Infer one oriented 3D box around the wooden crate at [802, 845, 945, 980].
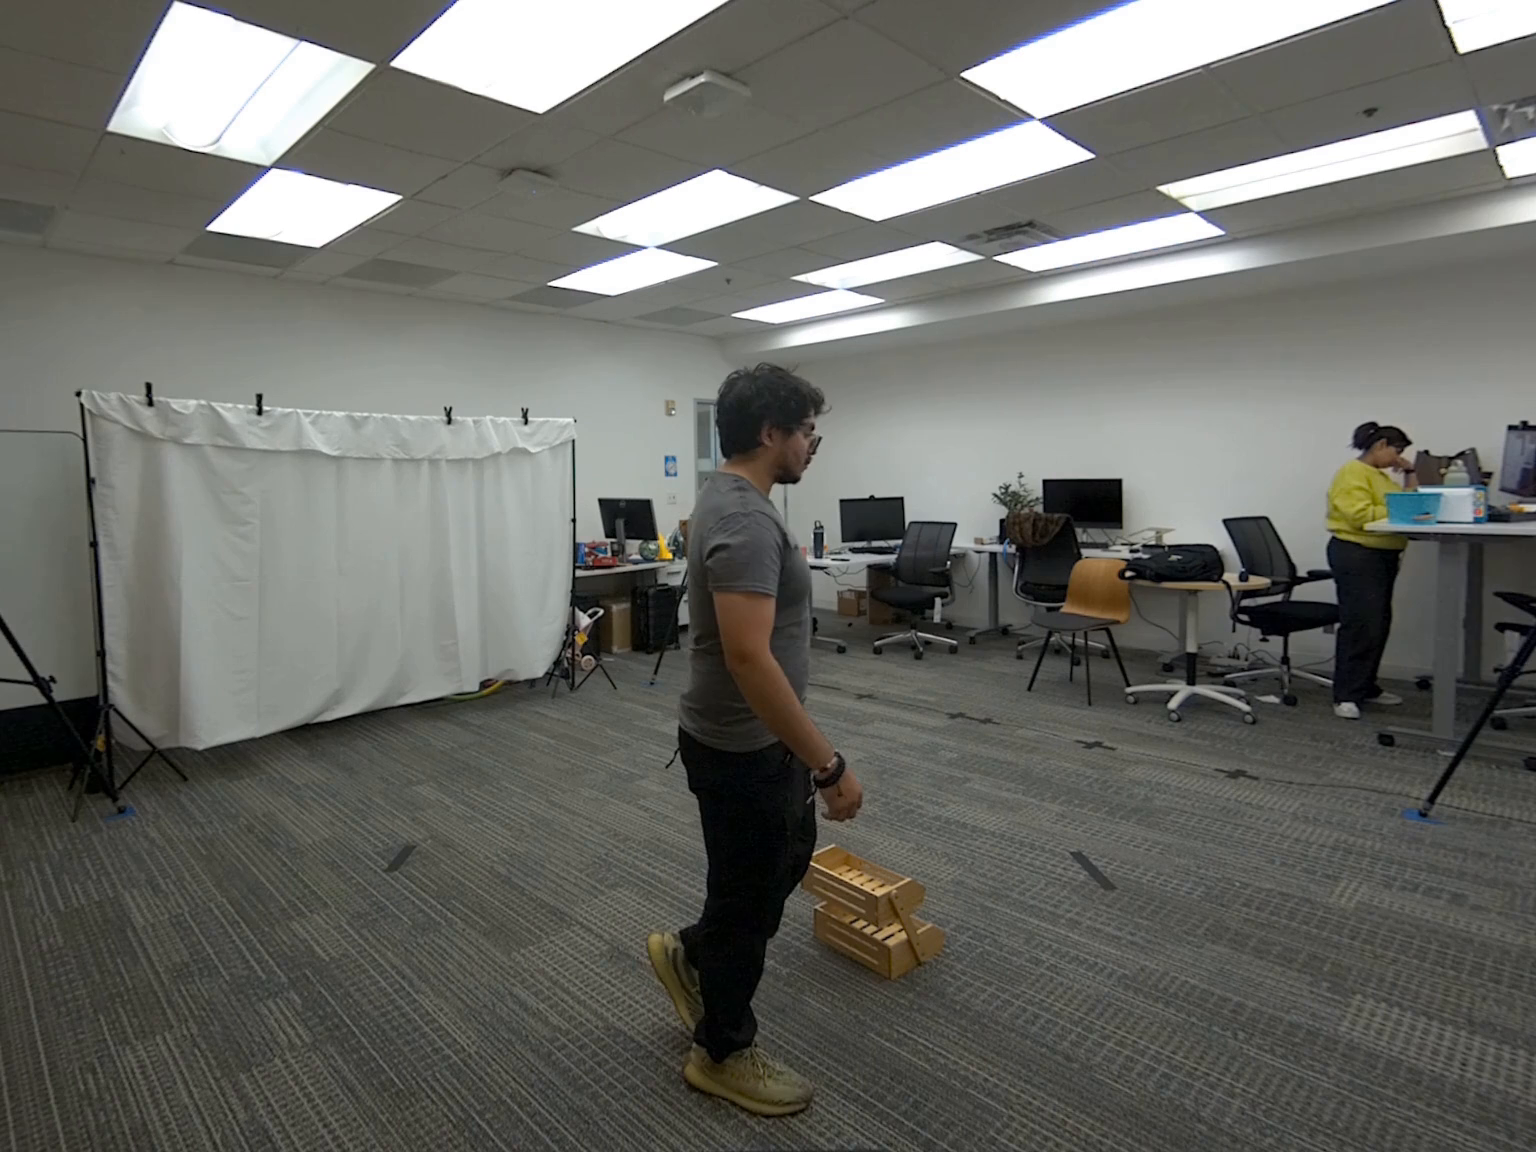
[{"bbox_3d":[0.320,0.971,2.535,0.294,0.272,0.334,-6,7,-40],"label":"wooden crate"}]
